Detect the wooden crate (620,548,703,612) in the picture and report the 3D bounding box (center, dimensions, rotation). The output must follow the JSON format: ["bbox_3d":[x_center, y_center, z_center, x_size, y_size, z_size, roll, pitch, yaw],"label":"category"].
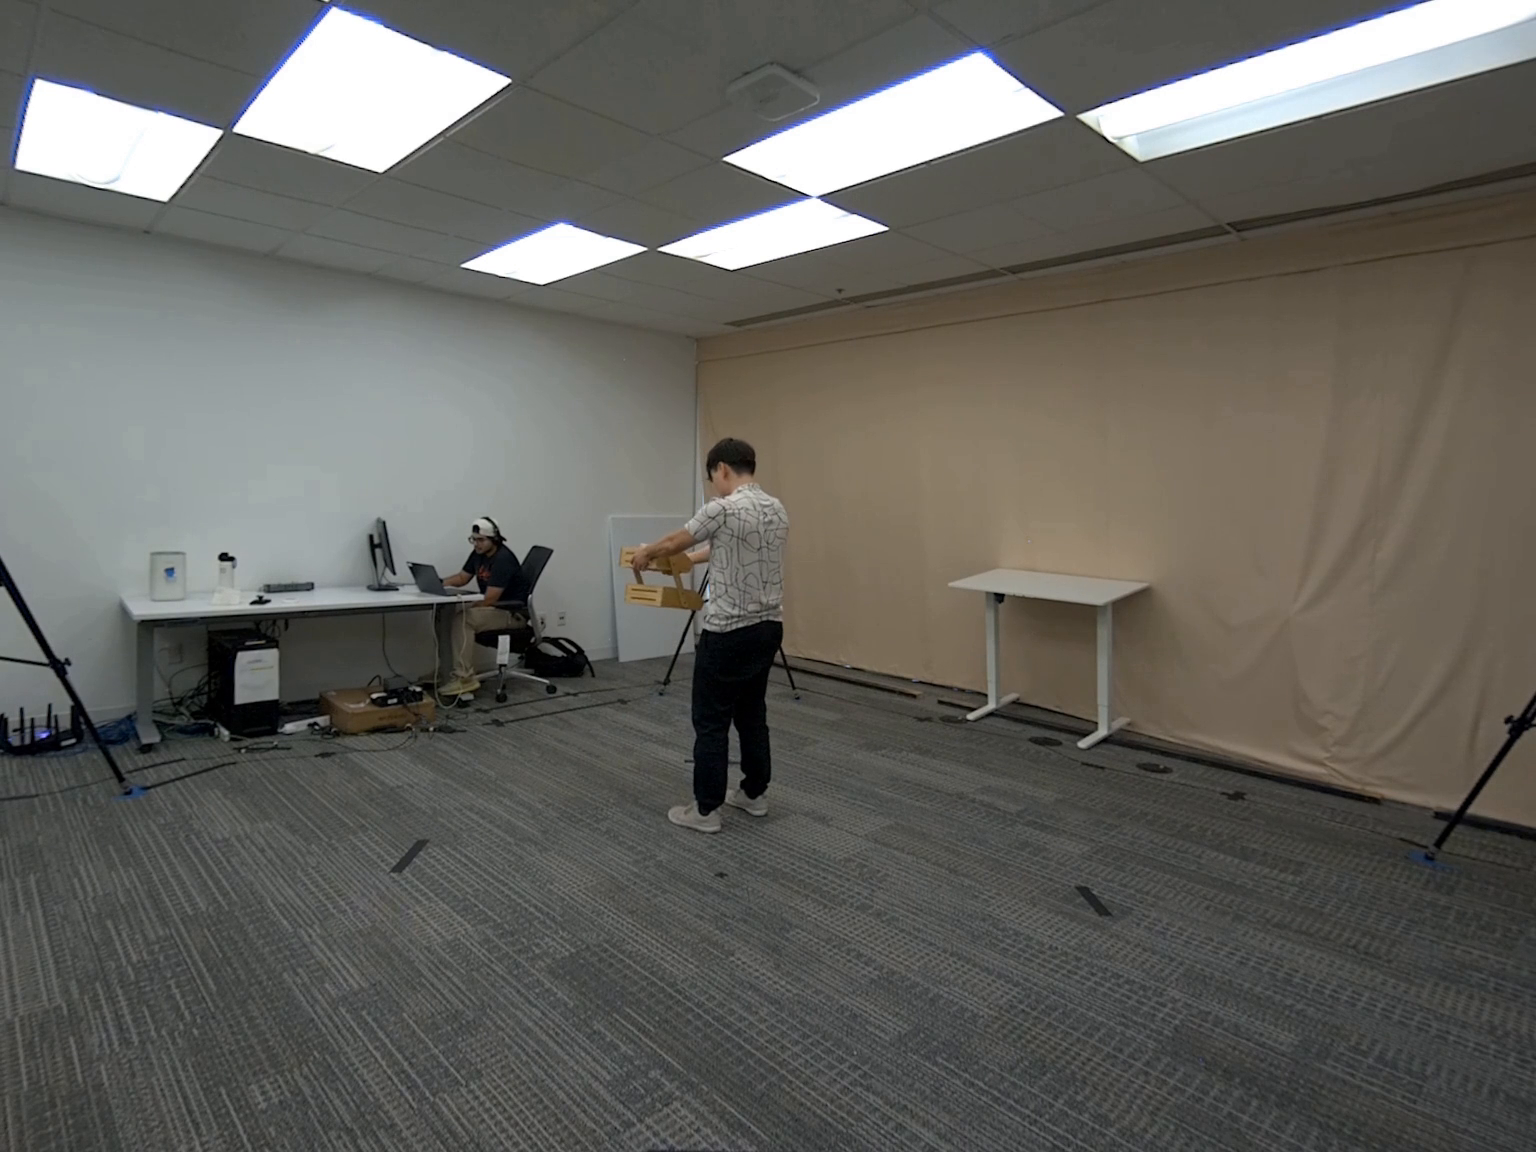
[{"bbox_3d":[-0.500,0.012,3.971,0.294,0.274,0.332,8,-4,-43],"label":"wooden crate"}]
